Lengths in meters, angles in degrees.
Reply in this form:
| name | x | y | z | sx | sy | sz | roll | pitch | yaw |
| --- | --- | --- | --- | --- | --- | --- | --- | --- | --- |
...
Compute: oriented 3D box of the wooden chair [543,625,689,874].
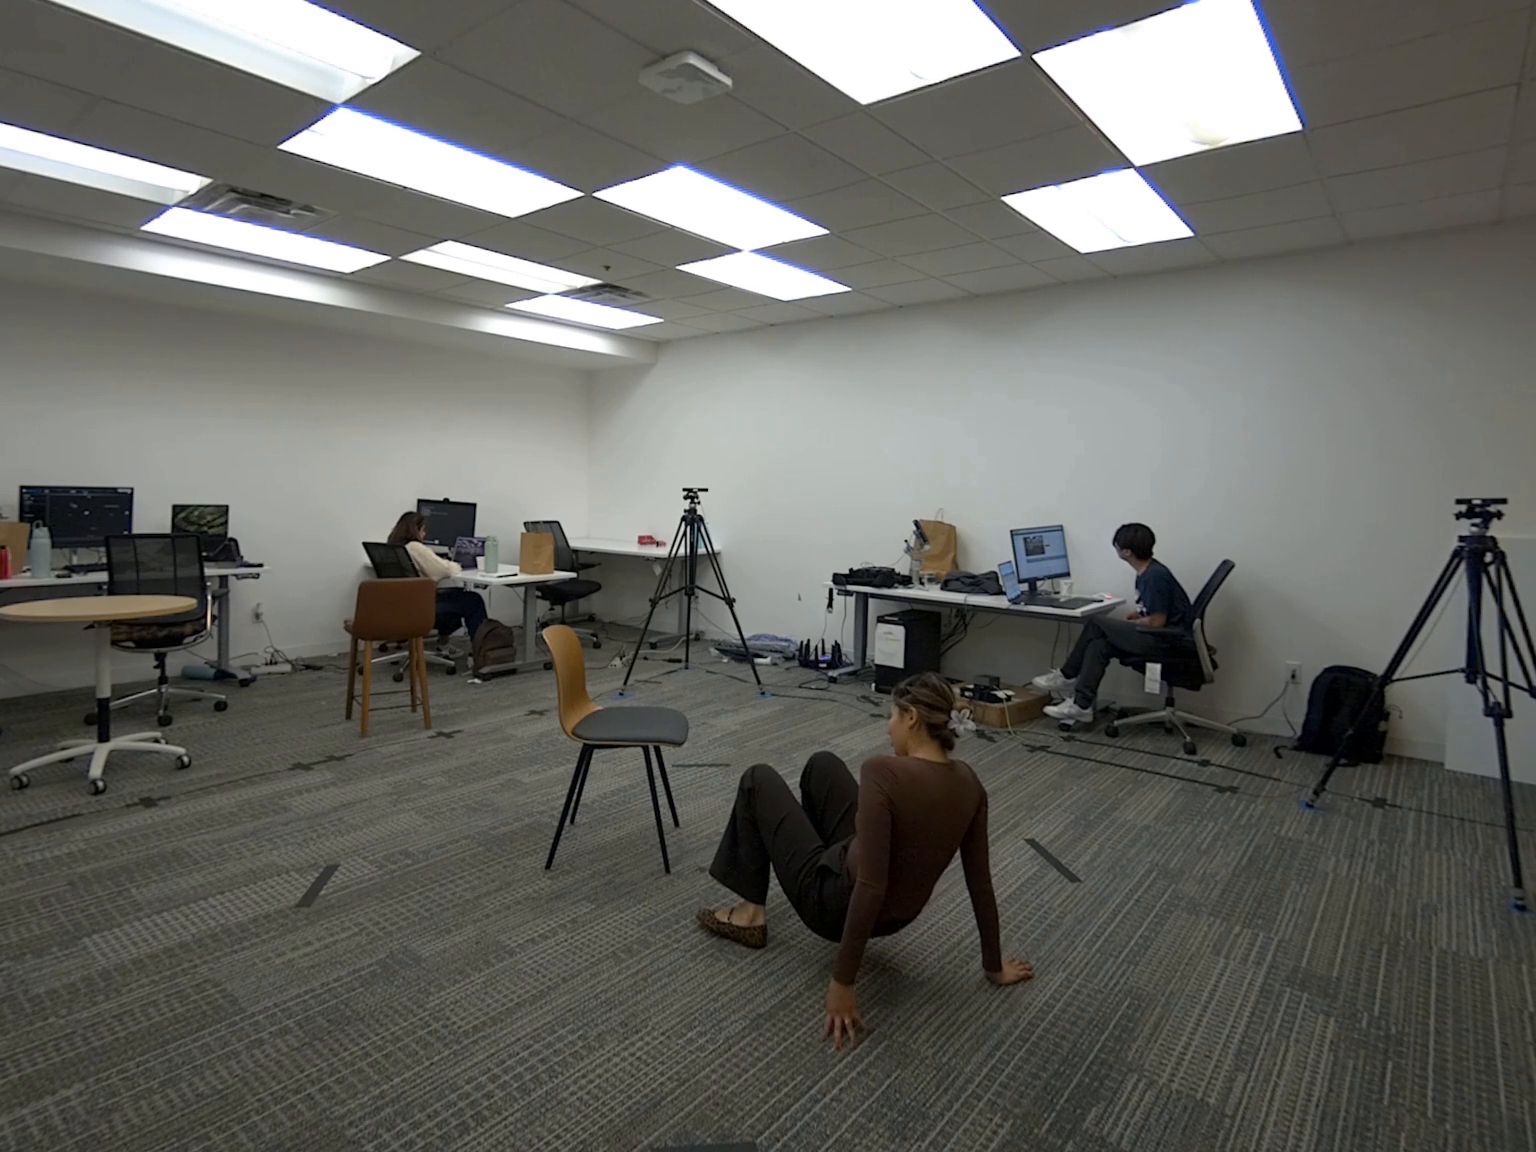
| name | x | y | z | sx | sy | sz | roll | pitch | yaw |
| --- | --- | --- | --- | --- | --- | --- | --- | --- | --- |
| wooden chair | -0.581 | 0.621 | 3.271 | 0.524 | 0.875 | 0.479 | -3 | 2 | 0 |
